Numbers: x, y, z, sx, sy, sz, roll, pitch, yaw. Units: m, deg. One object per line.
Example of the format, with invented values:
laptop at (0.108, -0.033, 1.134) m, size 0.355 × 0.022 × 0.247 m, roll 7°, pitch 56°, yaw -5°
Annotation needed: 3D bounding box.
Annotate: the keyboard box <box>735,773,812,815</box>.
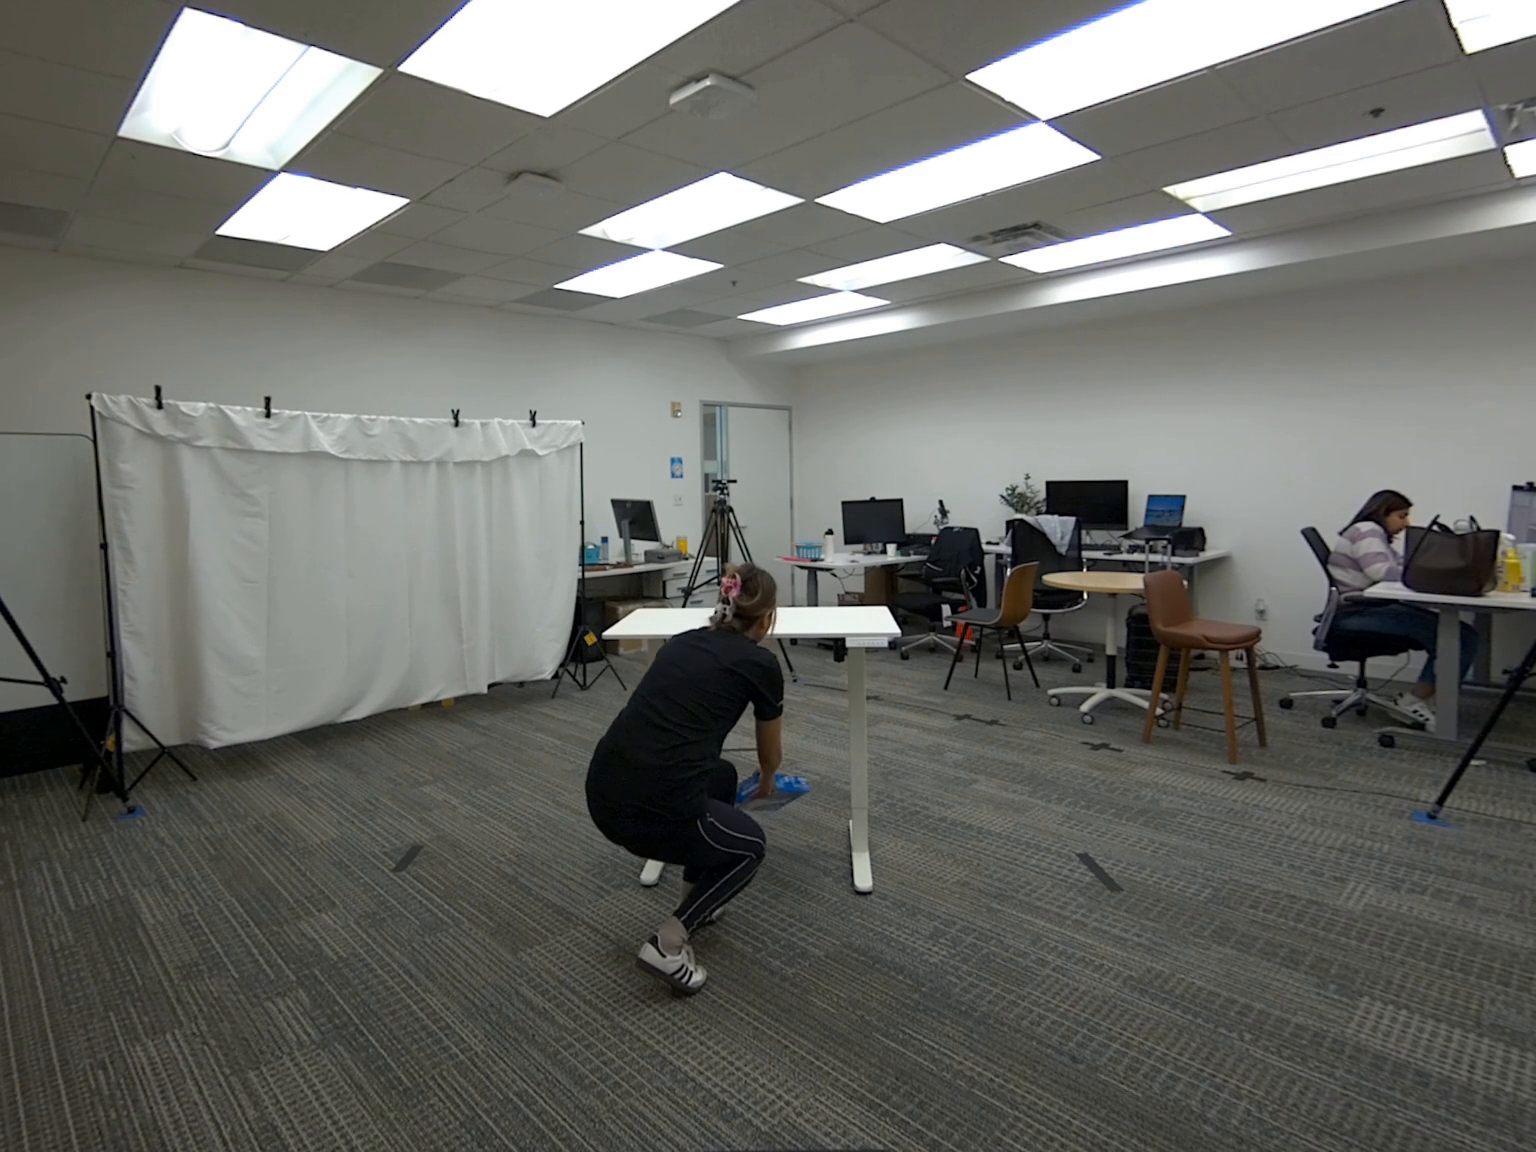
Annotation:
keyboard box at (-0.002, 0.795, 3.116) m, size 0.177 × 0.061 × 0.422 m, roll -32°, pitch -26°, yaw 15°
